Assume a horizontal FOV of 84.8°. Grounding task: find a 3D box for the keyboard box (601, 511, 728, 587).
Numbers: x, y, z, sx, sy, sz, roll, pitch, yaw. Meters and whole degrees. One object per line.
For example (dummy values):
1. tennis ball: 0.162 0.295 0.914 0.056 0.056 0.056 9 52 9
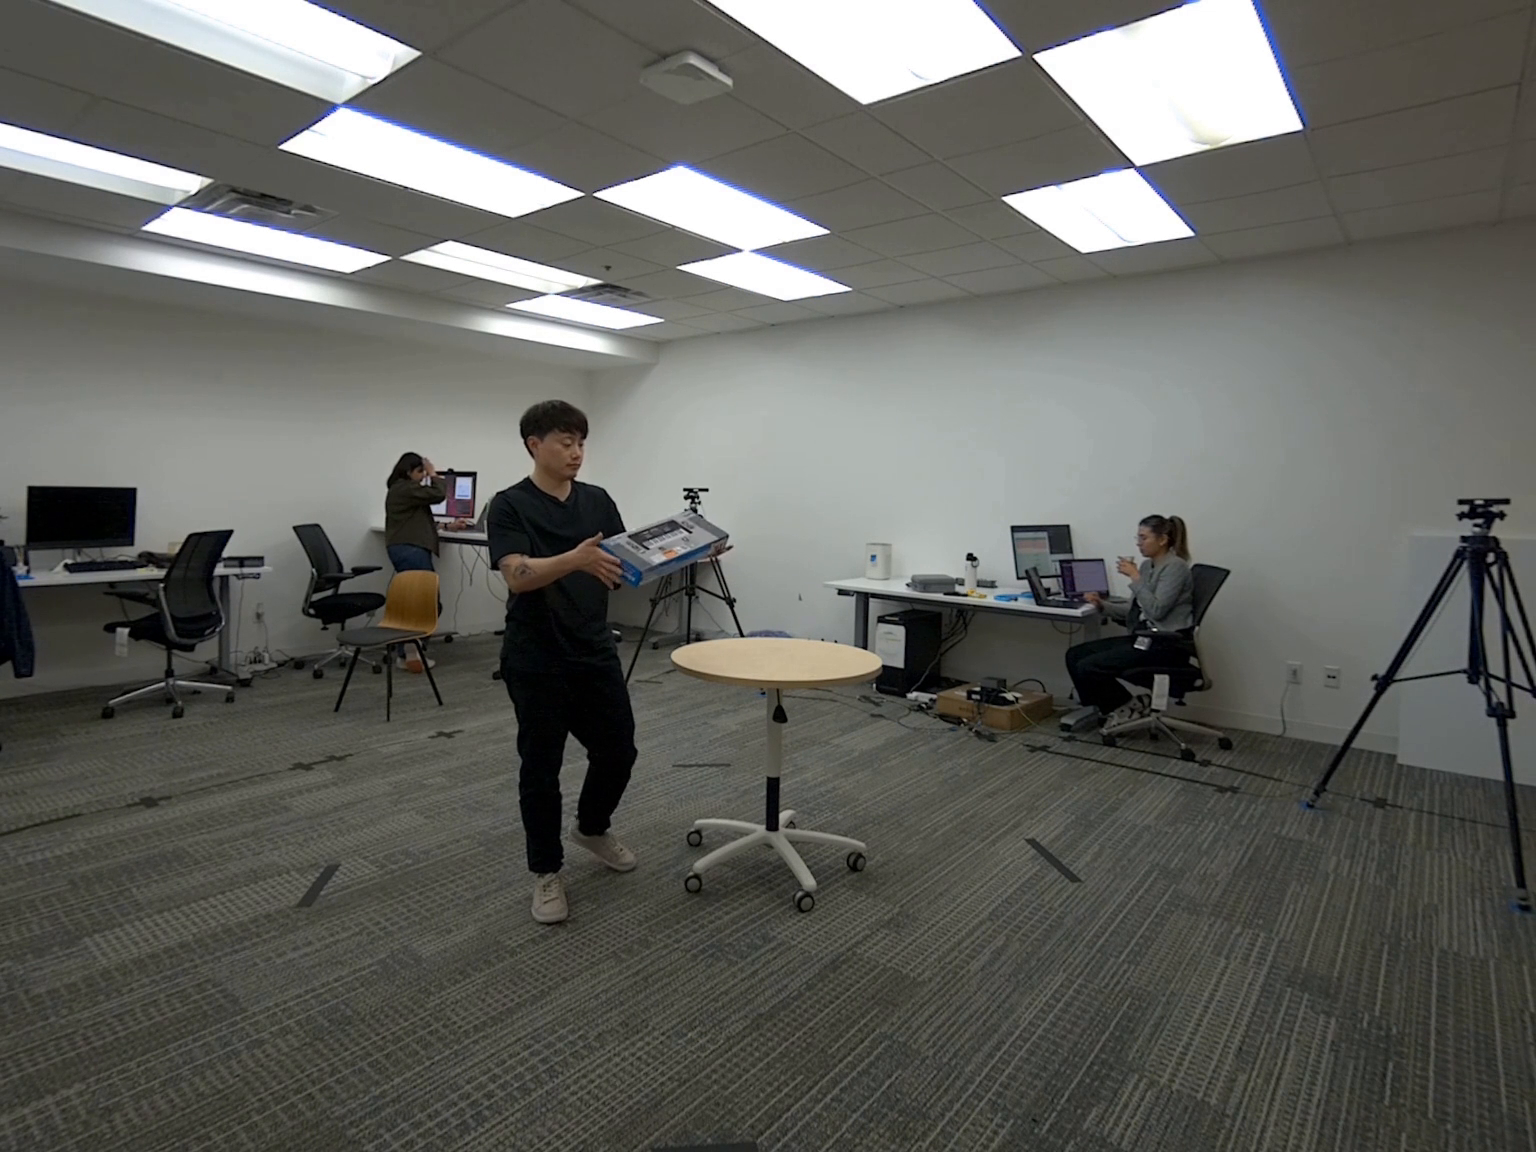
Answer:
1. keyboard box: -0.322 -0.090 2.600 0.182 0.058 0.429 31 32 23
